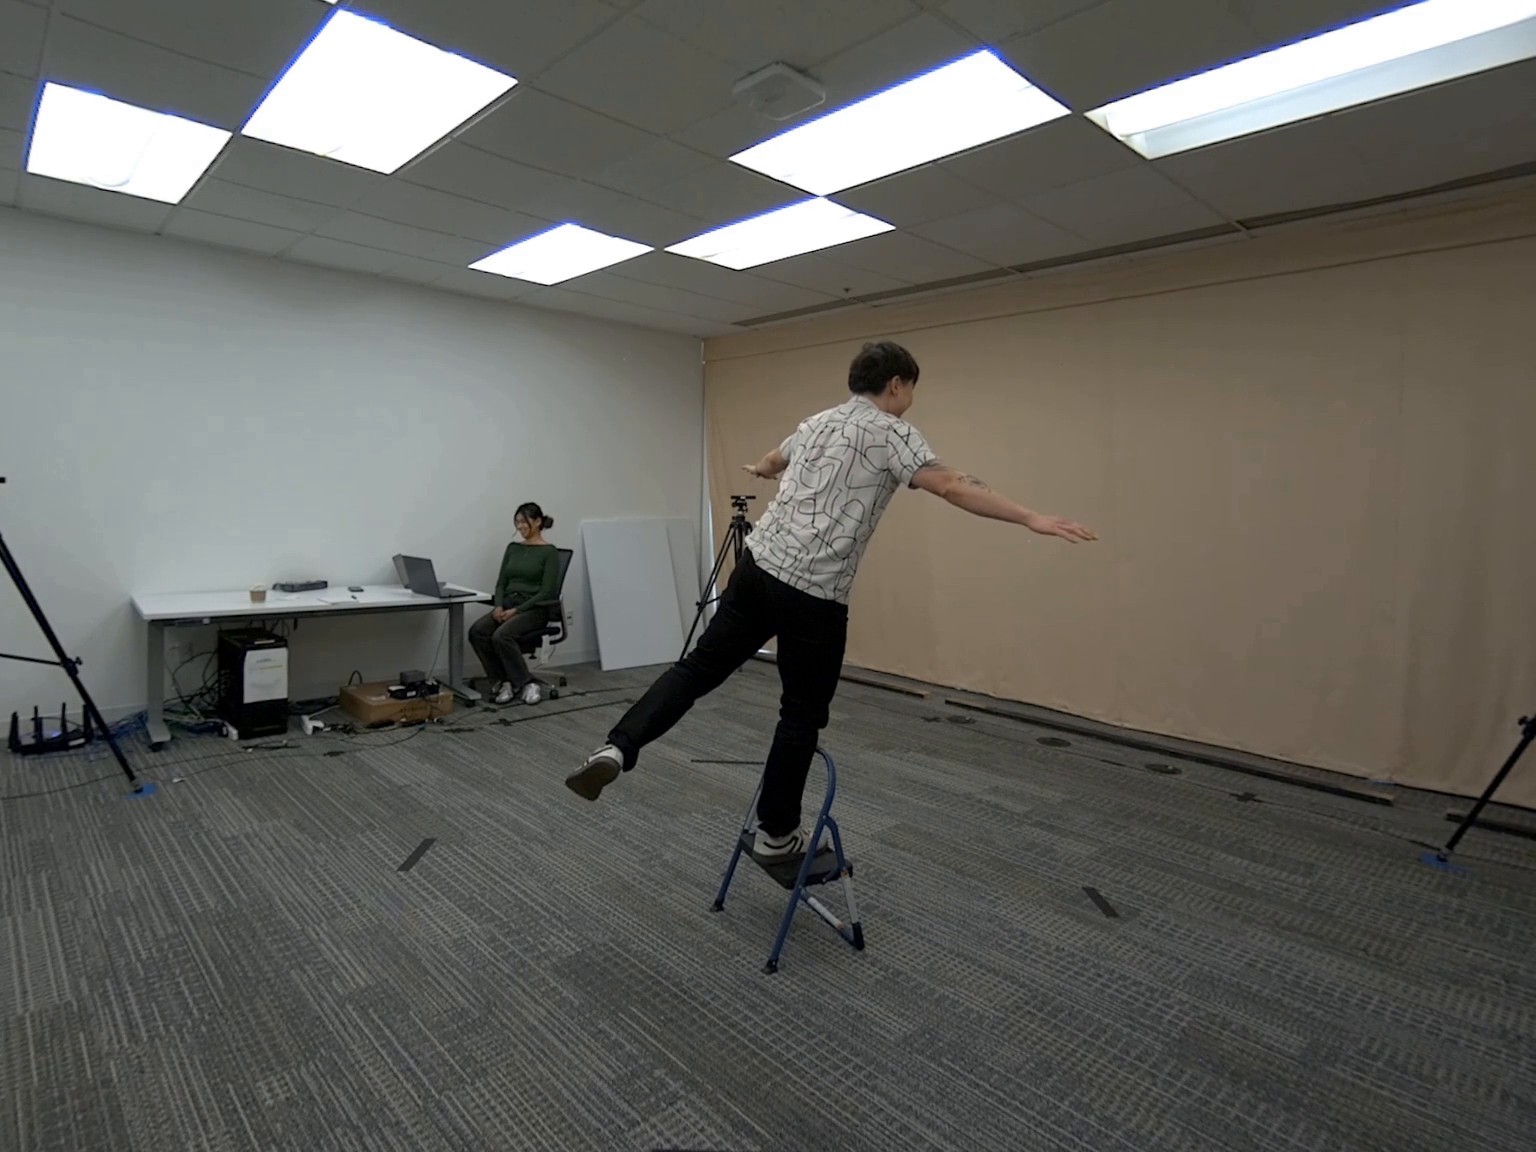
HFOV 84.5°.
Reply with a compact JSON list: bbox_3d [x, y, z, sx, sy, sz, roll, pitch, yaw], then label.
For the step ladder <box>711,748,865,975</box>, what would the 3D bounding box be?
[{"bbox_3d":[0.057,0.841,2.703,0.343,0.604,0.440,-1,5,-27],"label":"step ladder"}]
